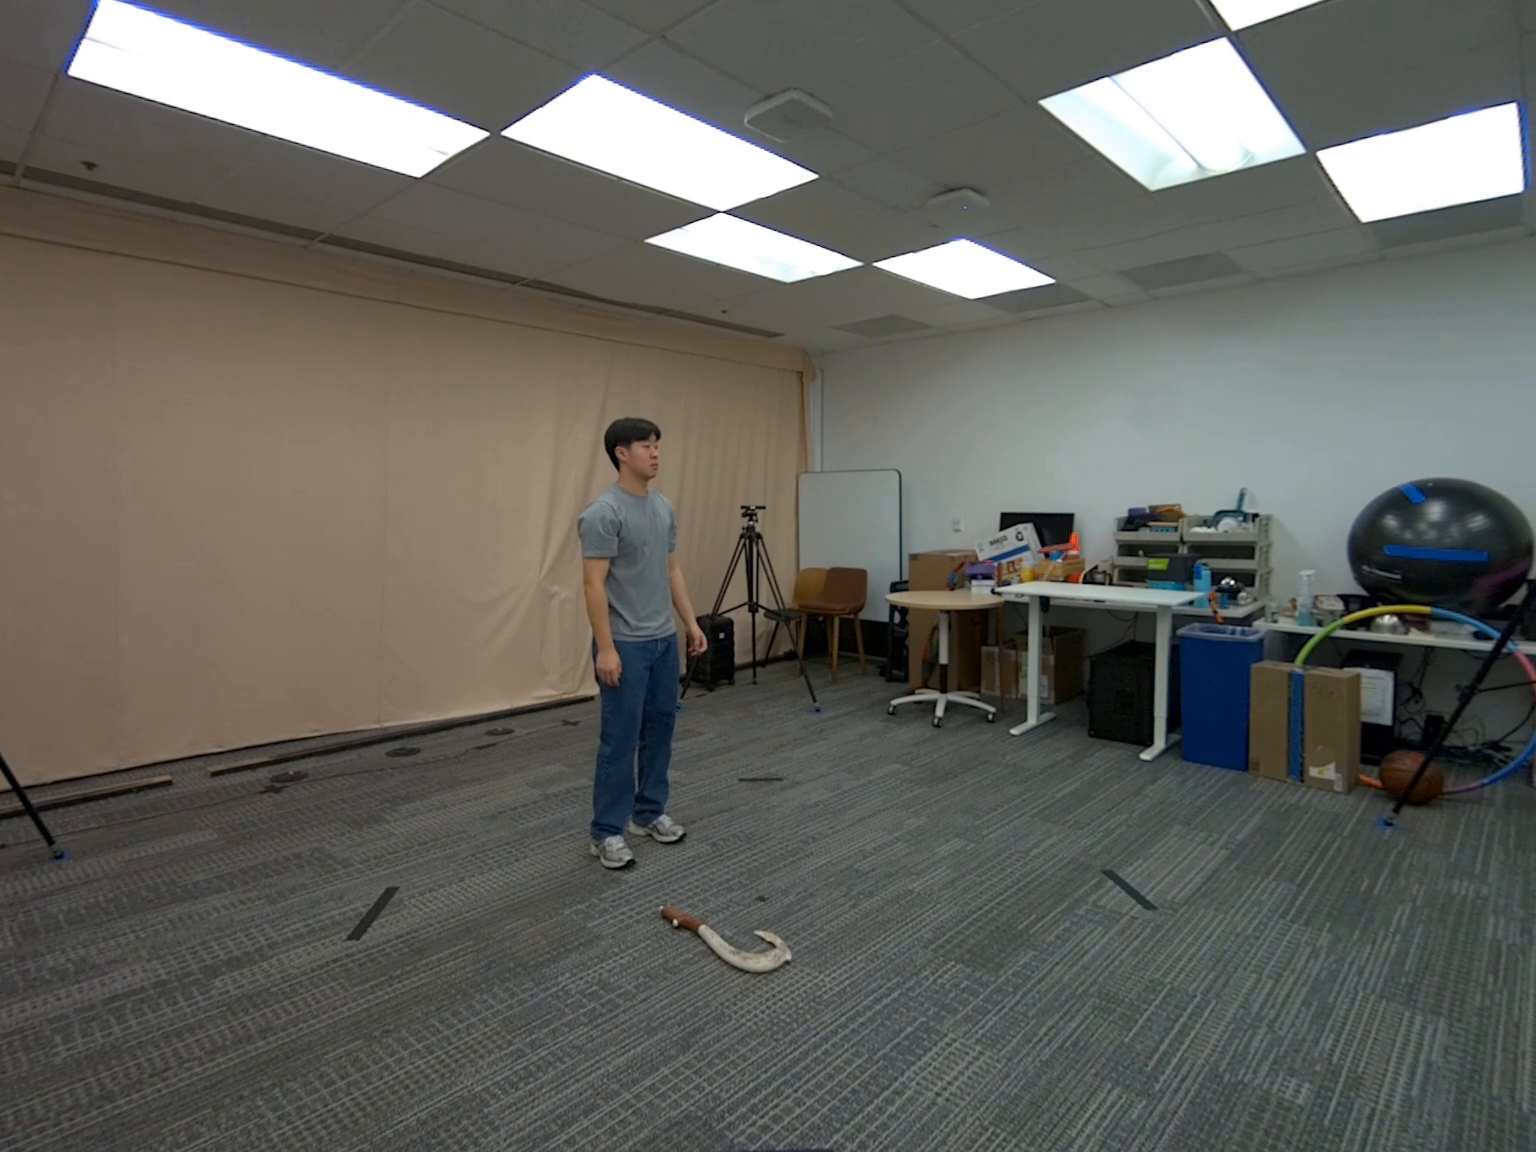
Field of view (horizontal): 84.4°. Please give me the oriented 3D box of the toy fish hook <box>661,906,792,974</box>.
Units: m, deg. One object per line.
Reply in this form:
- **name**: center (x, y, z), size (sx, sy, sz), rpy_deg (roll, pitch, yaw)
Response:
- **toy fish hook**: center (-0.139, 1.152, 2.711), size (0.524, 0.048, 0.217), rpy_deg (5, -1, 45)
